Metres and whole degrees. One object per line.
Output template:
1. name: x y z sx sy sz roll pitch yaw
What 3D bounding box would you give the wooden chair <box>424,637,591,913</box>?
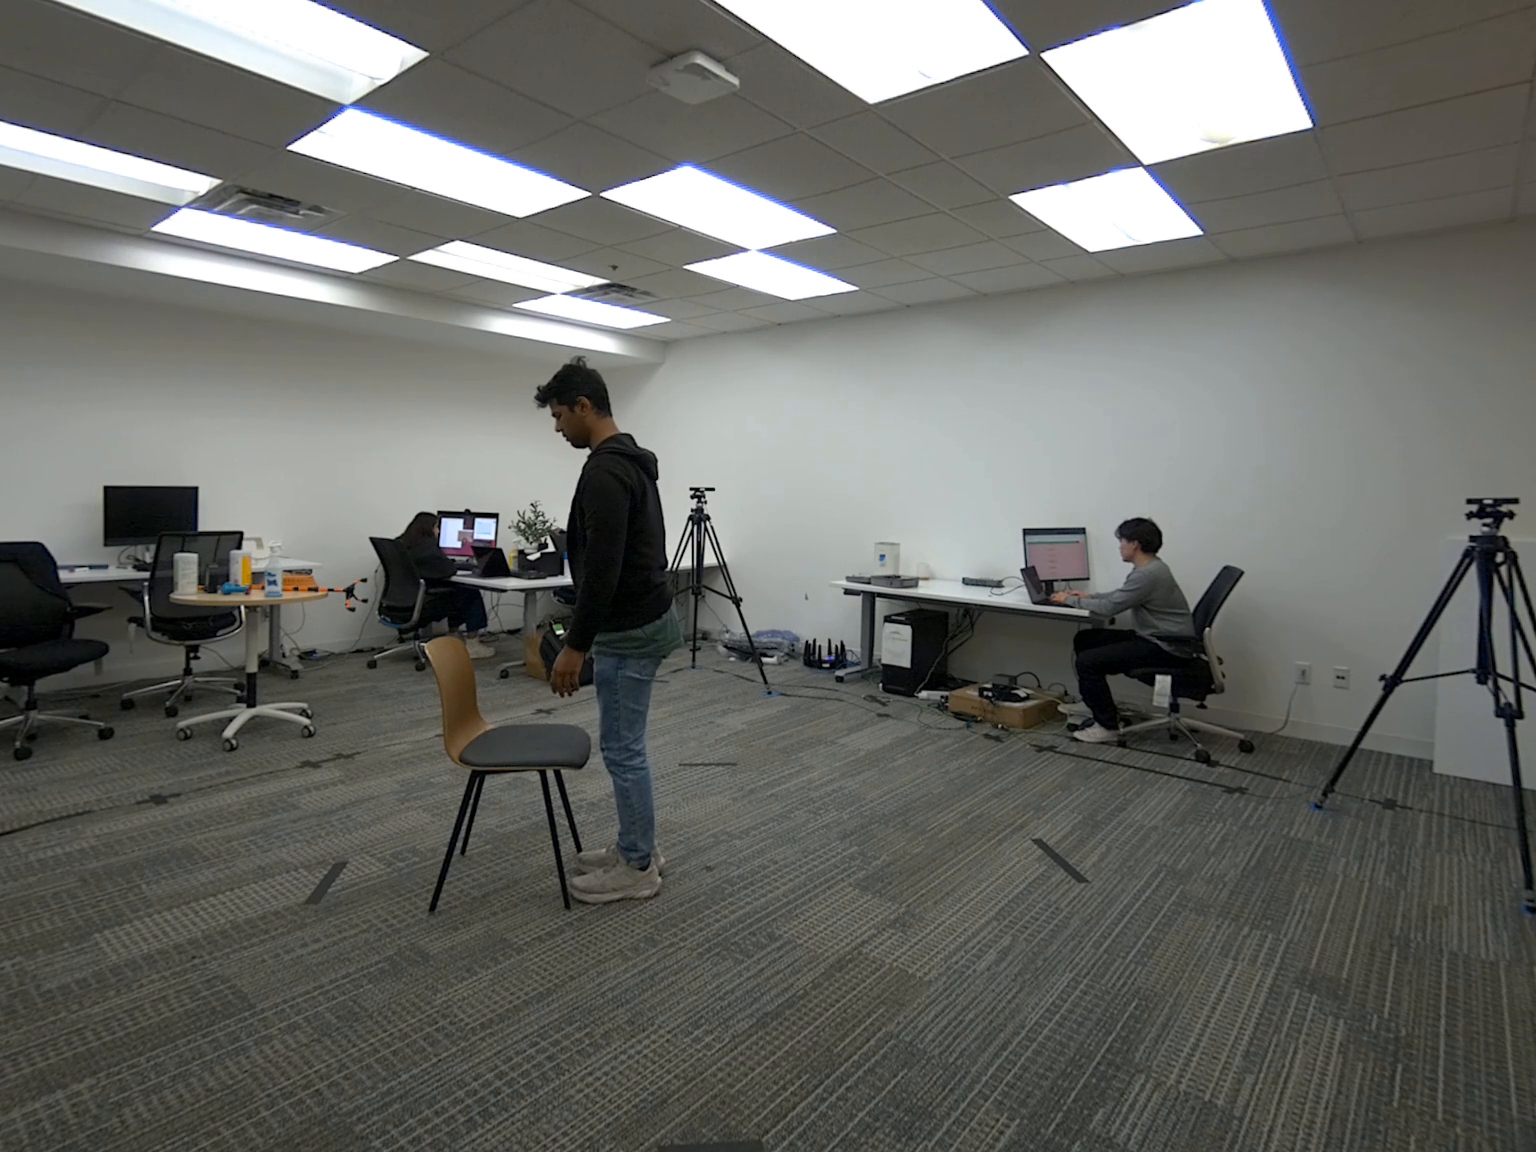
1. wooden chair: -0.899 0.642 2.968 0.520 0.875 0.482 -3 3 -6
